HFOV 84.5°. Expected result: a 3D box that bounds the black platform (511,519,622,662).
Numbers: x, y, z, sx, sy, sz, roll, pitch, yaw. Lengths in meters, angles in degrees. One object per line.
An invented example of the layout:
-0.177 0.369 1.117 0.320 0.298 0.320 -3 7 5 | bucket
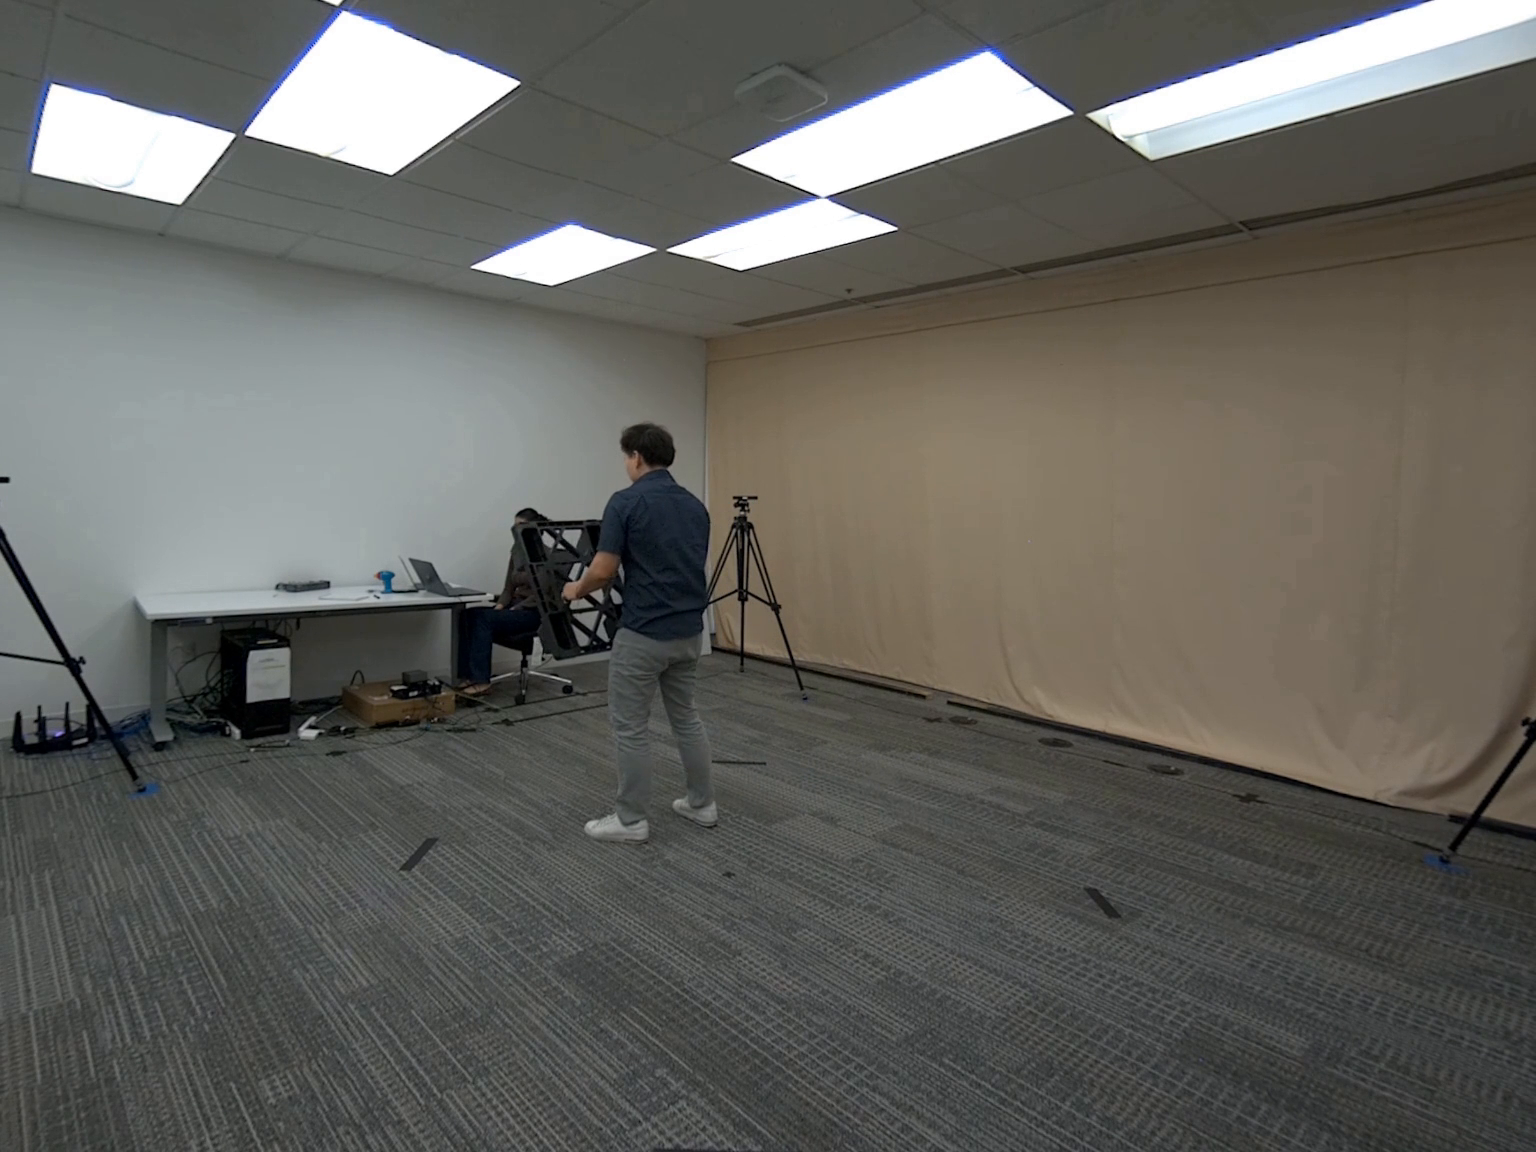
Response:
-0.717 0.044 3.675 0.144 0.614 0.788 -35 -19 36 | black platform
